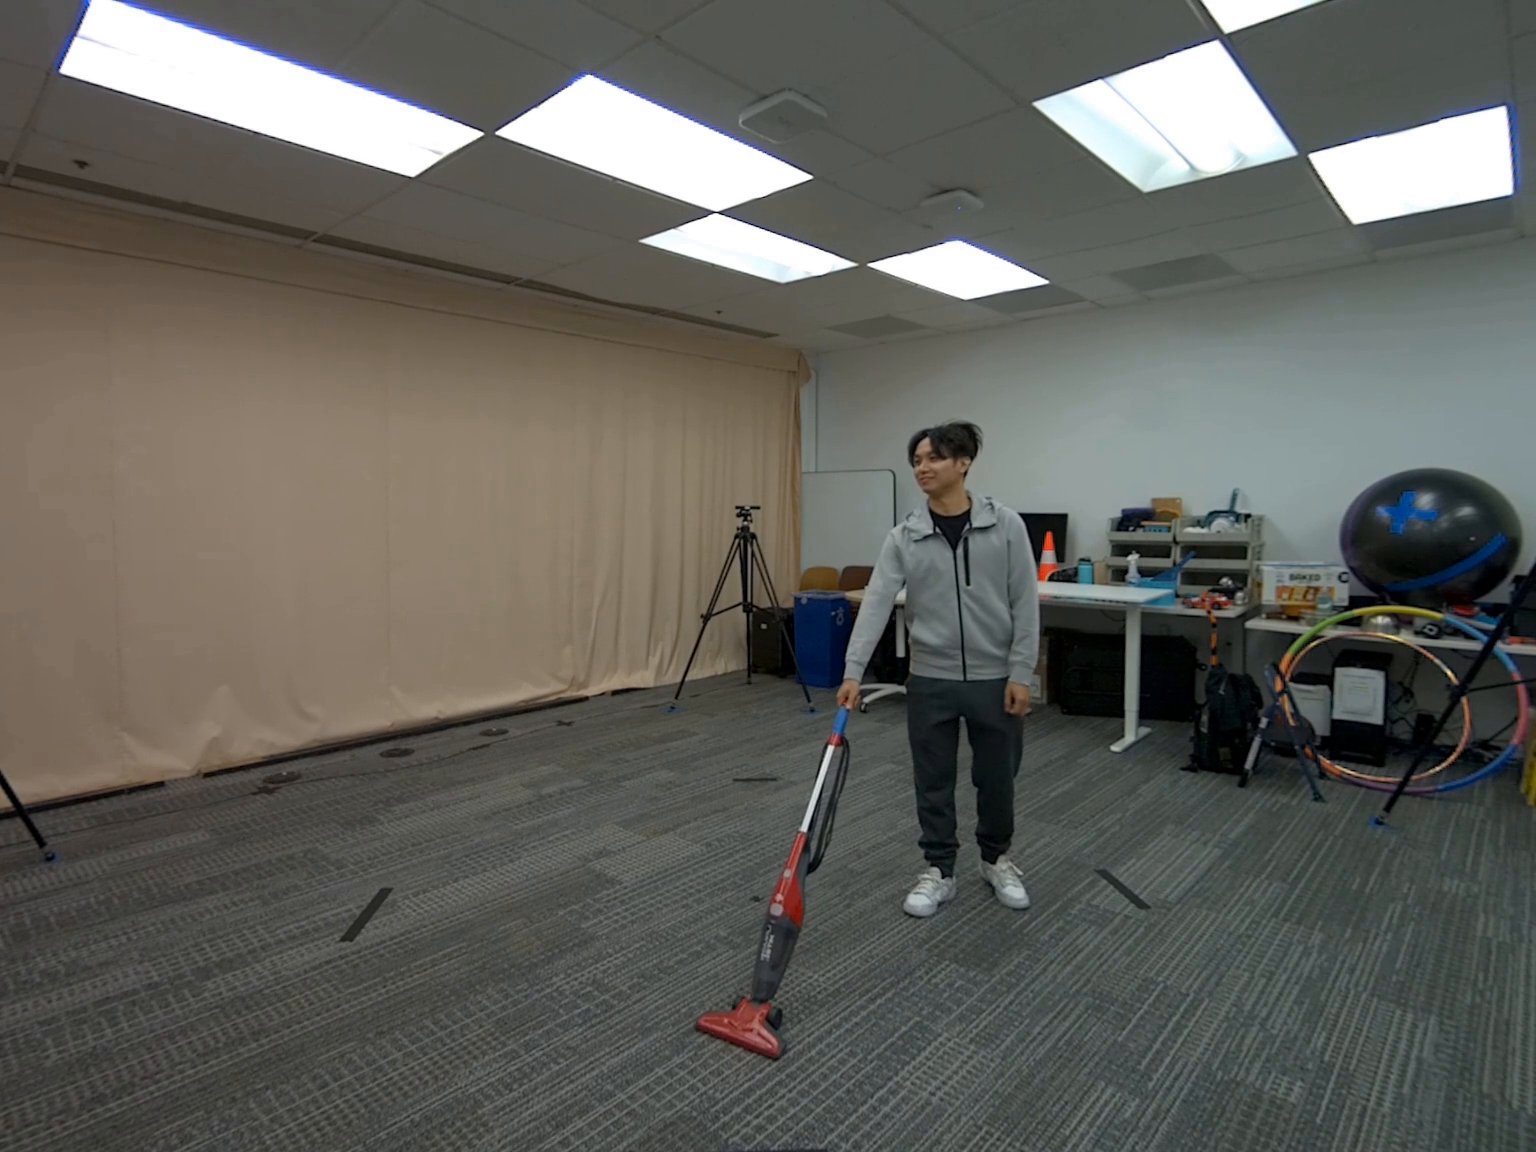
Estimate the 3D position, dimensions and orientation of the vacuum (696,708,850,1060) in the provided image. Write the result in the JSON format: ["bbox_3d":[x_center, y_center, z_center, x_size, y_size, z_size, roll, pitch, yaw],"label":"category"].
[{"bbox_3d":[0.134,0.809,2.524,0.260,1.052,0.139,3,-40,29],"label":"vacuum"}]
